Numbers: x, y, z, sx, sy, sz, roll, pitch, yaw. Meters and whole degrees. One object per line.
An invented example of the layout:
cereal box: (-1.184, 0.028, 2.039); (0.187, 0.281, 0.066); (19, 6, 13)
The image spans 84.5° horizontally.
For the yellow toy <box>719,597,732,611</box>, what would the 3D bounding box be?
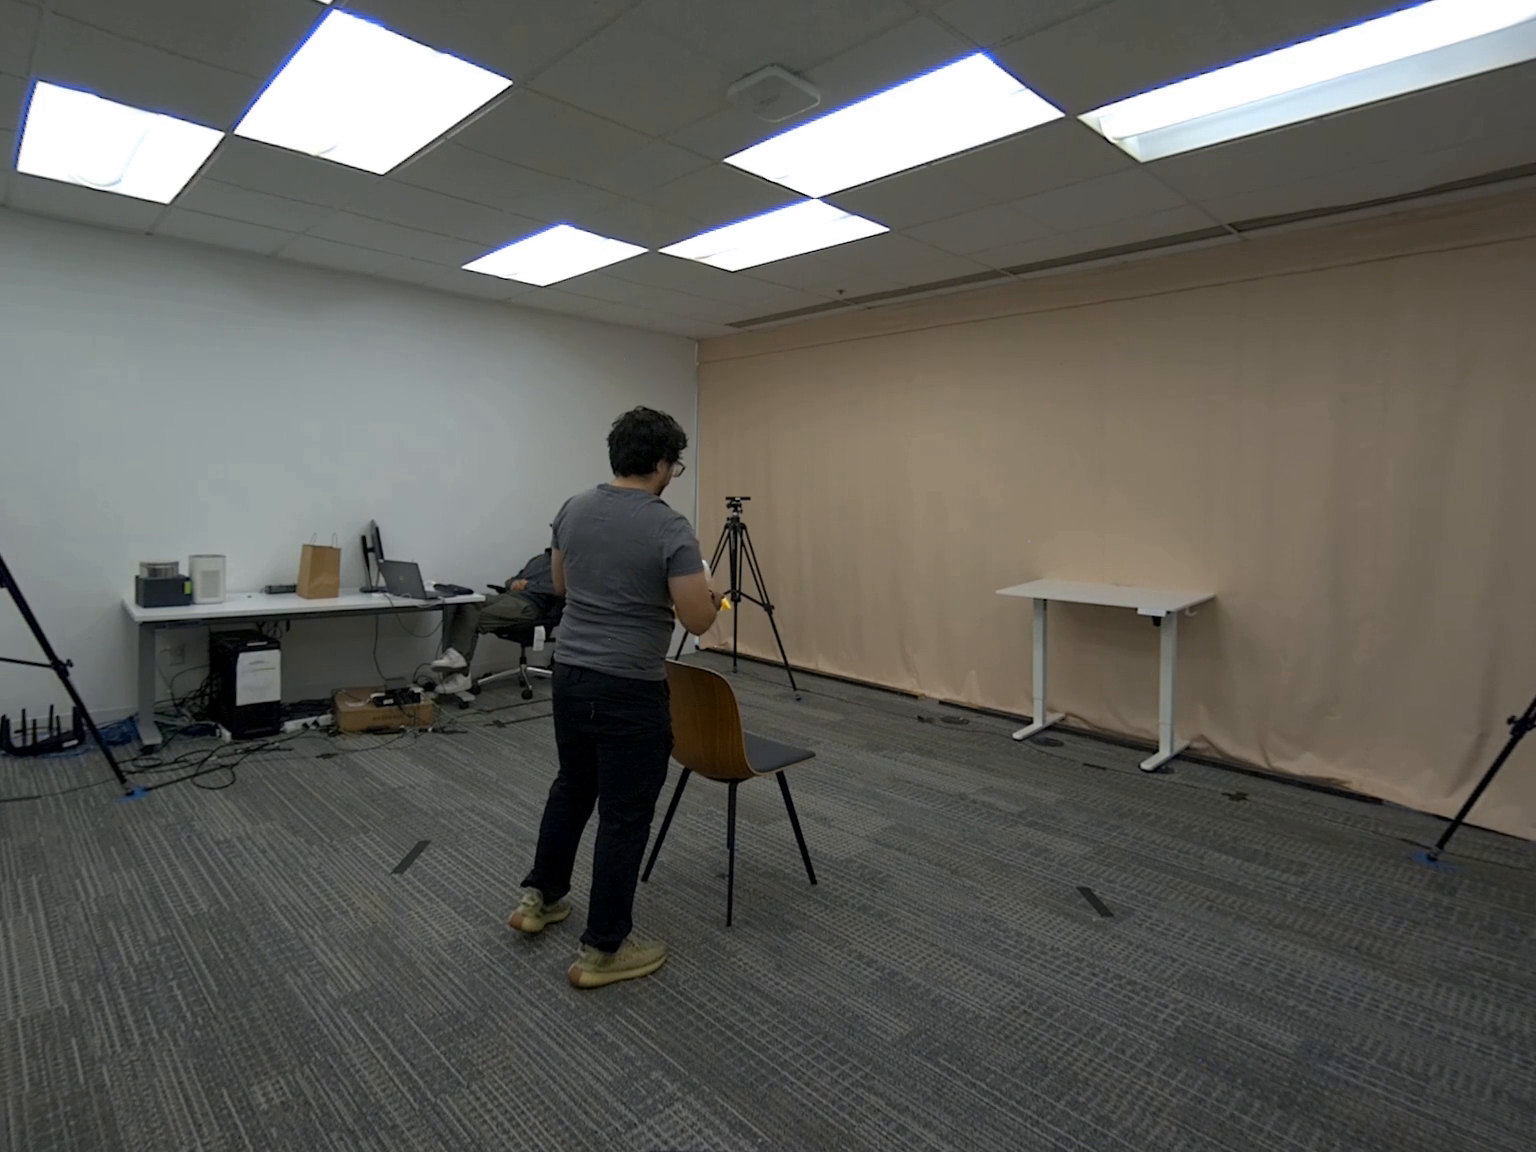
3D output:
yellow toy: (-0.251, 0.013, 2.751); (0.197, 0.230, 0.201); (-6, 5, 44)
